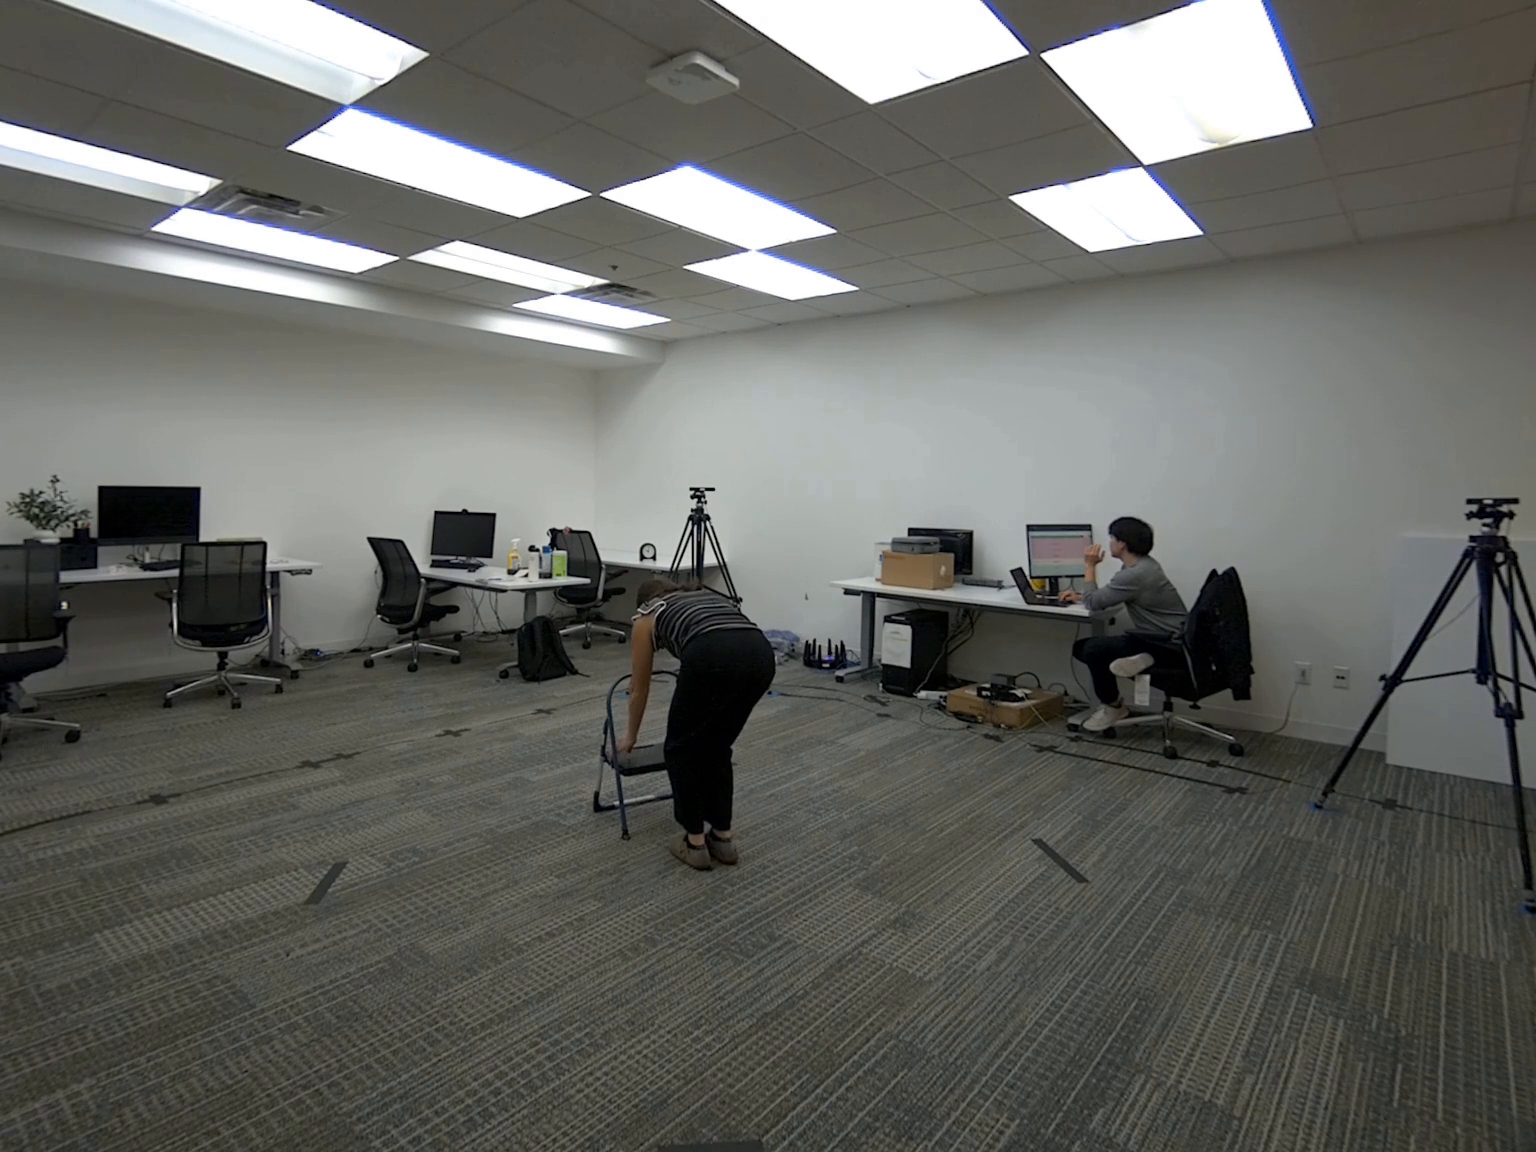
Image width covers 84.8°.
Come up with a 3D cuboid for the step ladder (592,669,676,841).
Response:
[{"bbox_3d":[-0.496,0.713,3.591,0.418,0.604,0.360,-1,4,-33],"label":"step ladder"}]
